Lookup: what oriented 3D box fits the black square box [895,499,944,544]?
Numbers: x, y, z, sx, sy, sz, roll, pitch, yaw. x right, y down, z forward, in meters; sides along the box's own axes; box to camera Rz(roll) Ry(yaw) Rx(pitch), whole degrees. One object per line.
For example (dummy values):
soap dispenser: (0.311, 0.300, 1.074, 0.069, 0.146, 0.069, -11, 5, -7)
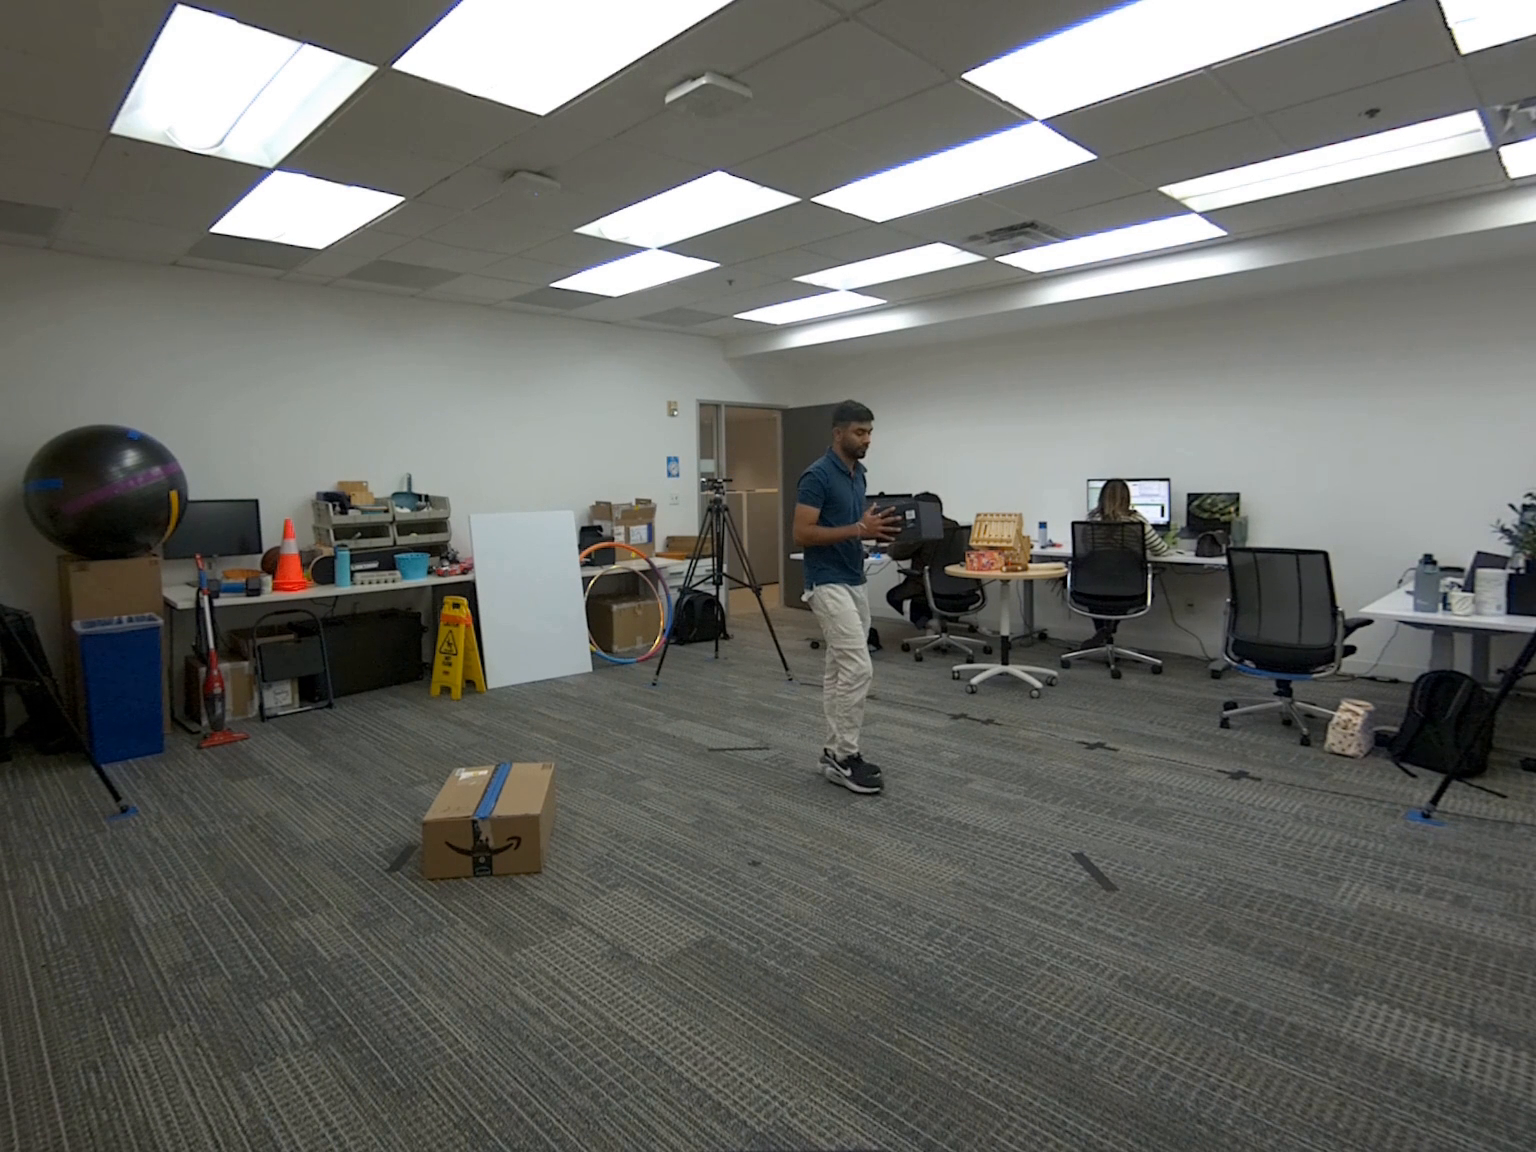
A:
black square box: (0.616, -0.230, 3.734, 0.222, 0.156, 0.222, -6, -2, 35)
